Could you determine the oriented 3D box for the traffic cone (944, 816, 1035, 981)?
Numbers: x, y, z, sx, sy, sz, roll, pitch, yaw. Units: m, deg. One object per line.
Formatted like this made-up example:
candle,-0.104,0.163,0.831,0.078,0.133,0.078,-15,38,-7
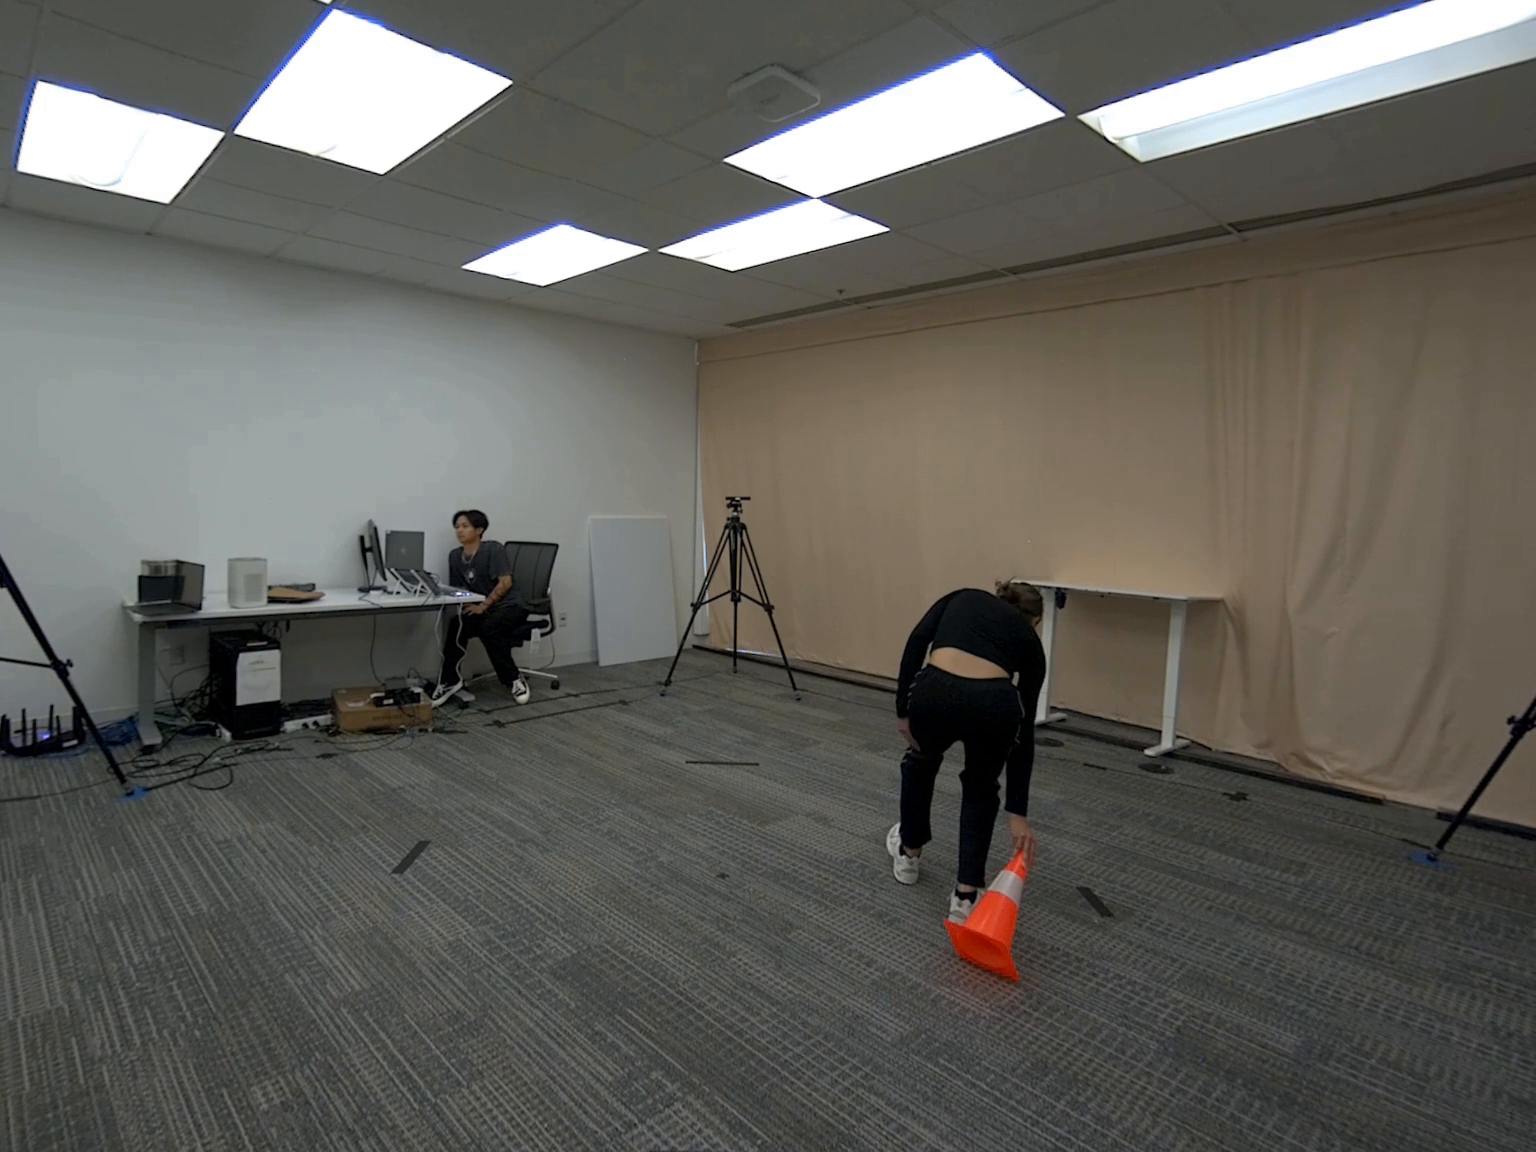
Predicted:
traffic cone,0.726,0.992,2.585,0.210,0.198,0.384,3,40,43
